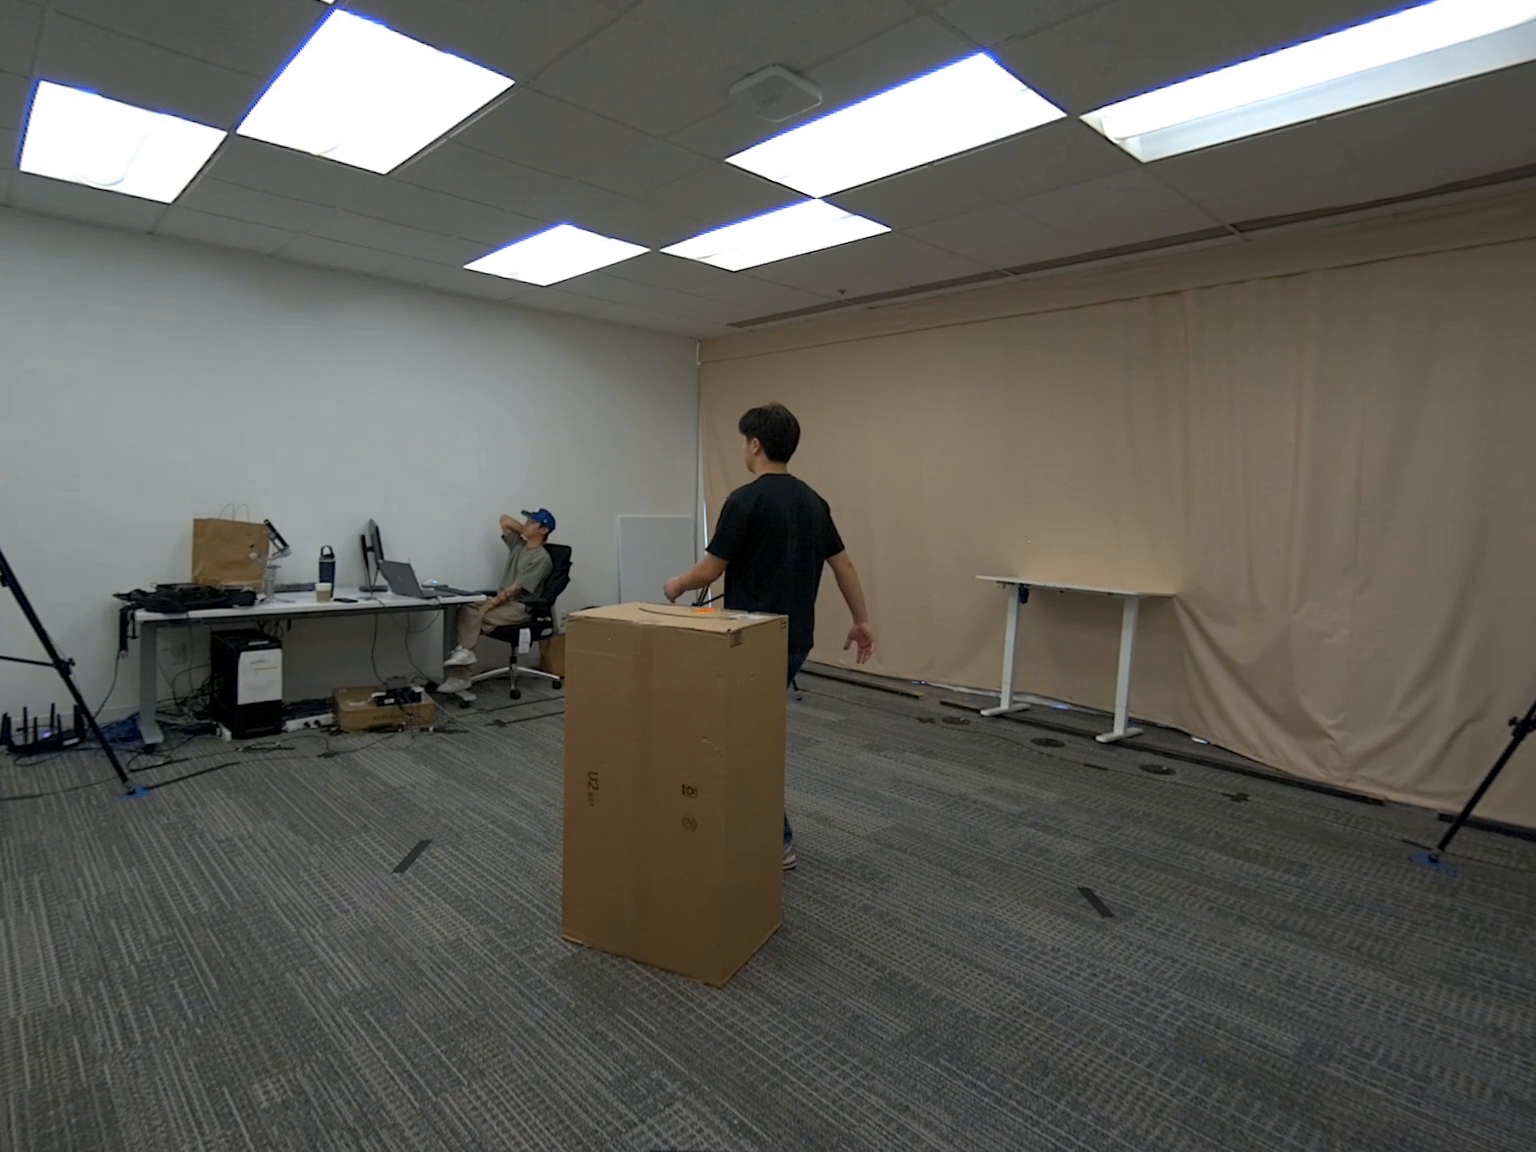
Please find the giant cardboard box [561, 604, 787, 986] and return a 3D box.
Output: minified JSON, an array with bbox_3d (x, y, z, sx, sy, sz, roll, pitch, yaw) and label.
[{"bbox_3d":[-0.297,0.631,2.676,0.596,1.025,0.438,3,2,28],"label":"giant cardboard box"}]
